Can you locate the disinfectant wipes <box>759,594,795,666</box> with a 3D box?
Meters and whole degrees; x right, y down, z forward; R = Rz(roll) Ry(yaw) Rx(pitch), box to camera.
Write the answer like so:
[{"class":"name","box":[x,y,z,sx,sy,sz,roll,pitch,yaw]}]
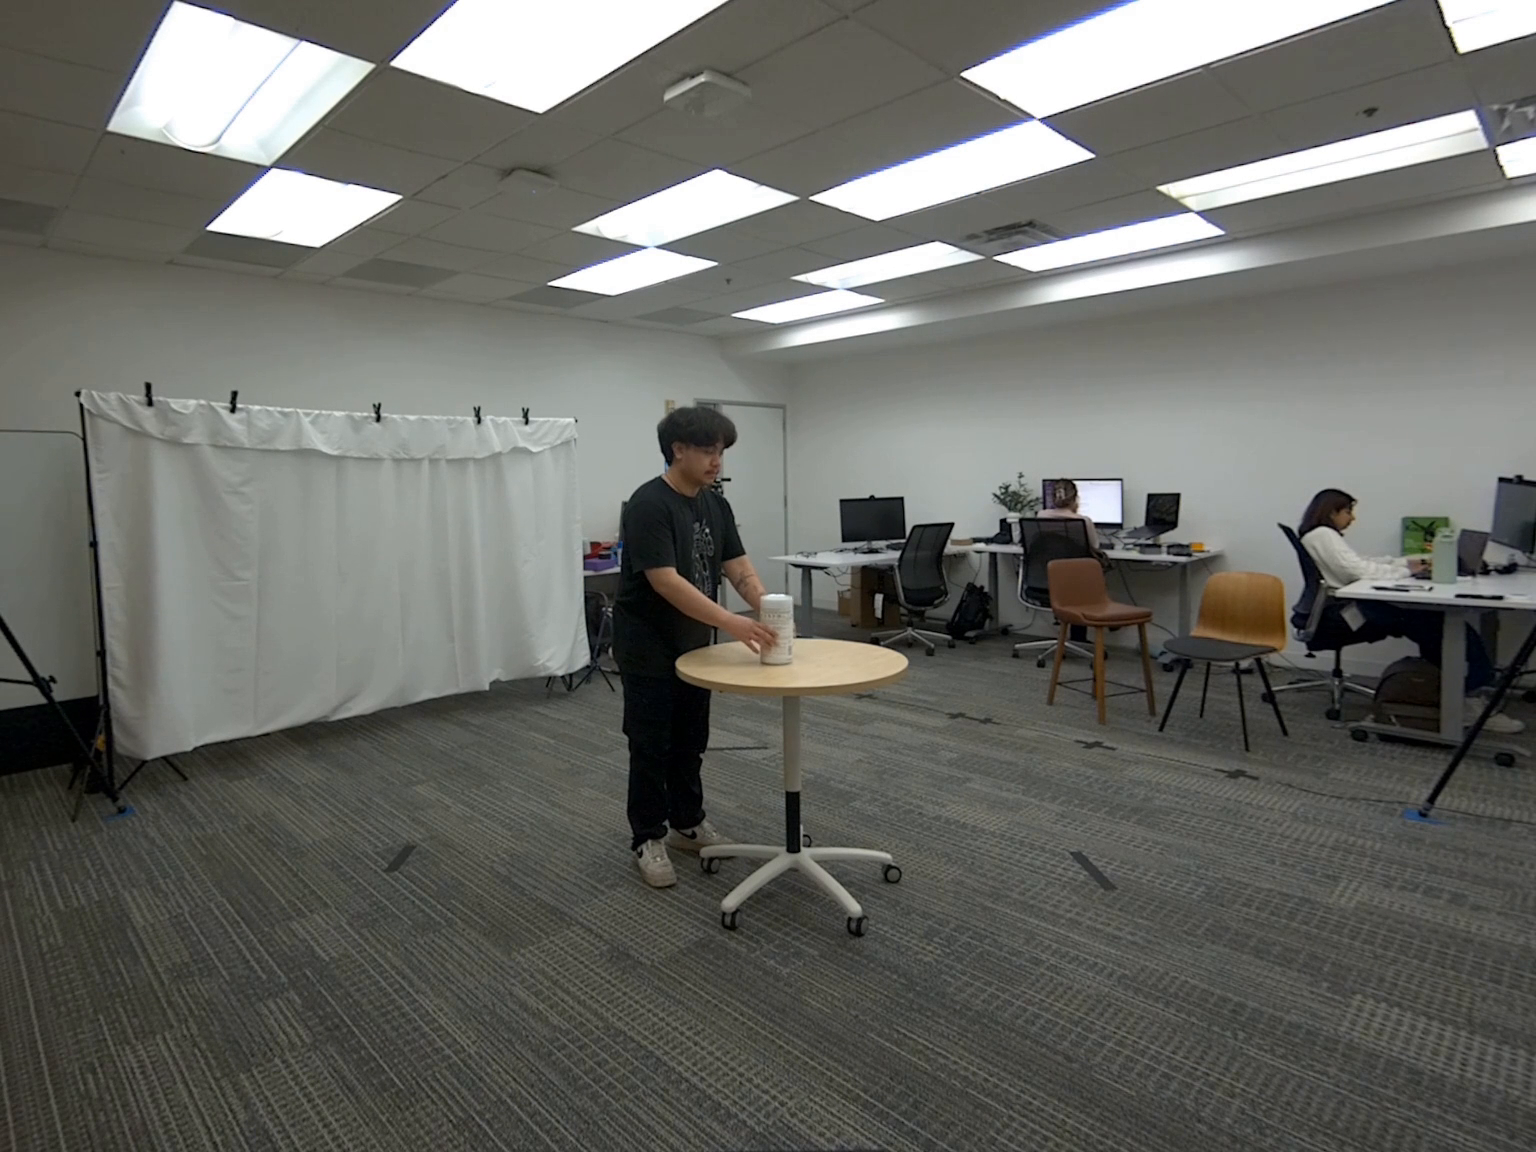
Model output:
[{"class":"disinfectant wipes","box":[0.031,0.173,2.809,0.118,0.217,0.118,0,4,-2]}]
